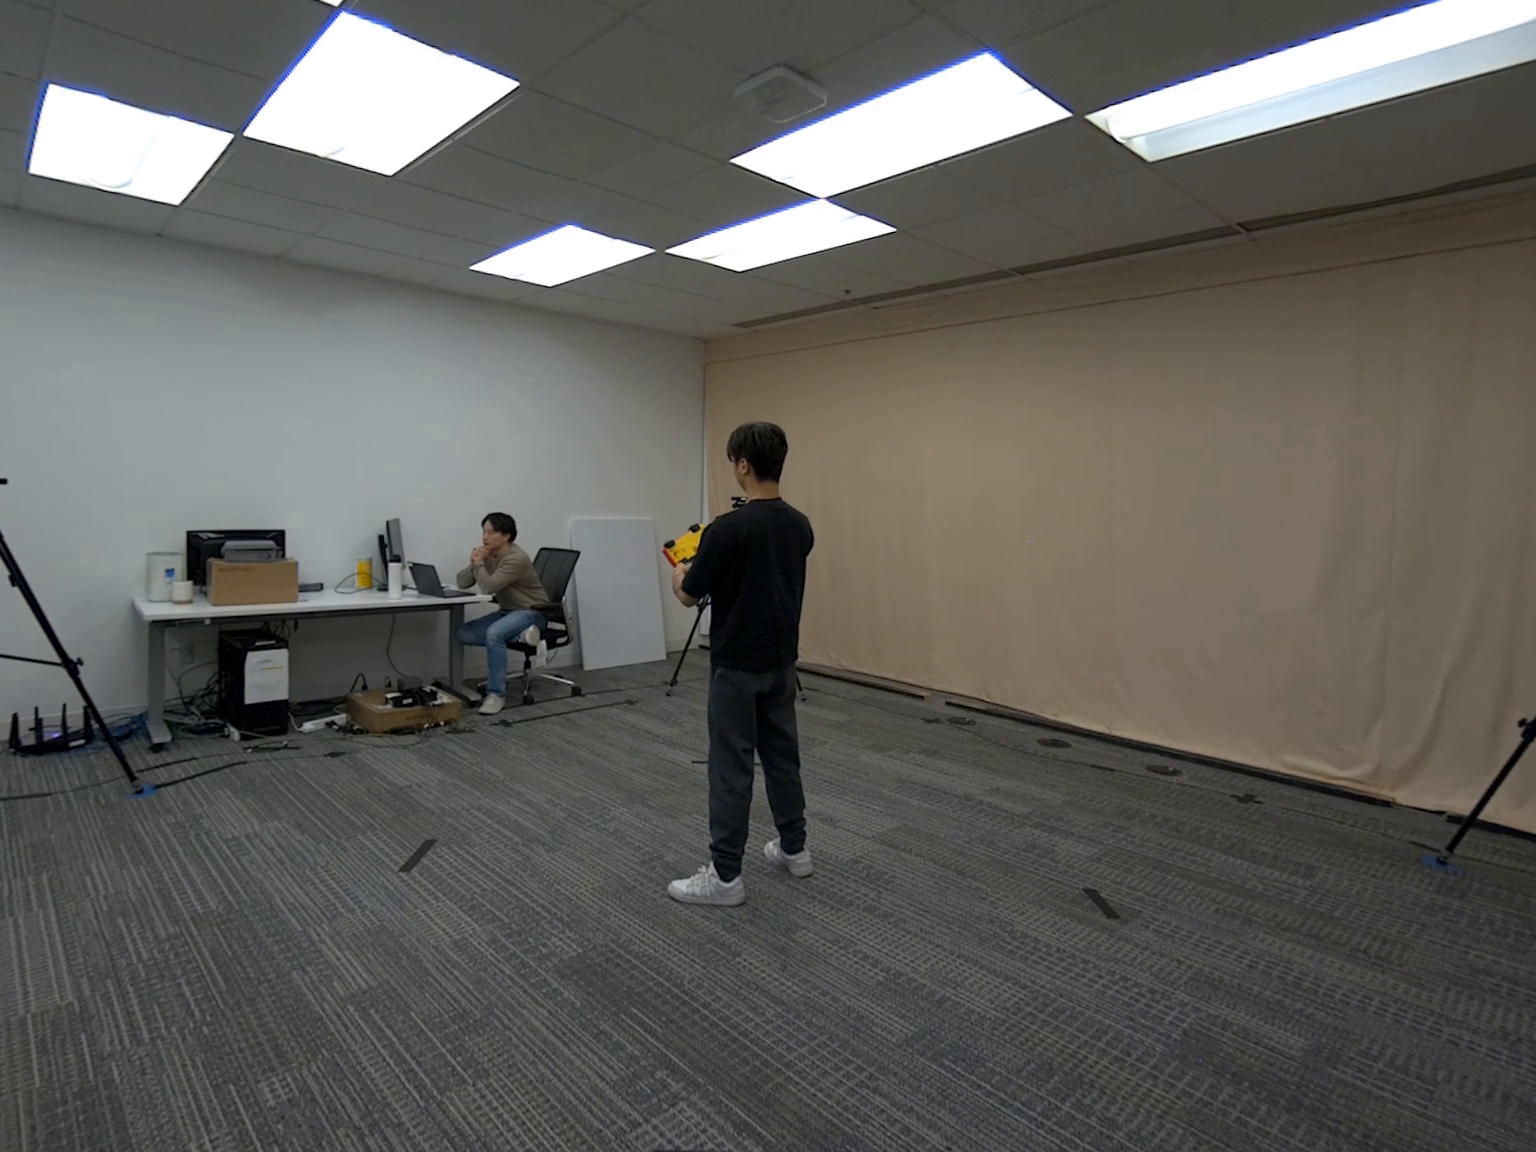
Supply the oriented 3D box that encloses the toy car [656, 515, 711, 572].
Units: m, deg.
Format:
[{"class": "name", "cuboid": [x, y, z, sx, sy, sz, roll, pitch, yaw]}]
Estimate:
[{"class": "toy car", "cuboid": [-0.304, -0.125, 3.330, 0.083, 0.130, 0.253, -38, 0, 40]}]
